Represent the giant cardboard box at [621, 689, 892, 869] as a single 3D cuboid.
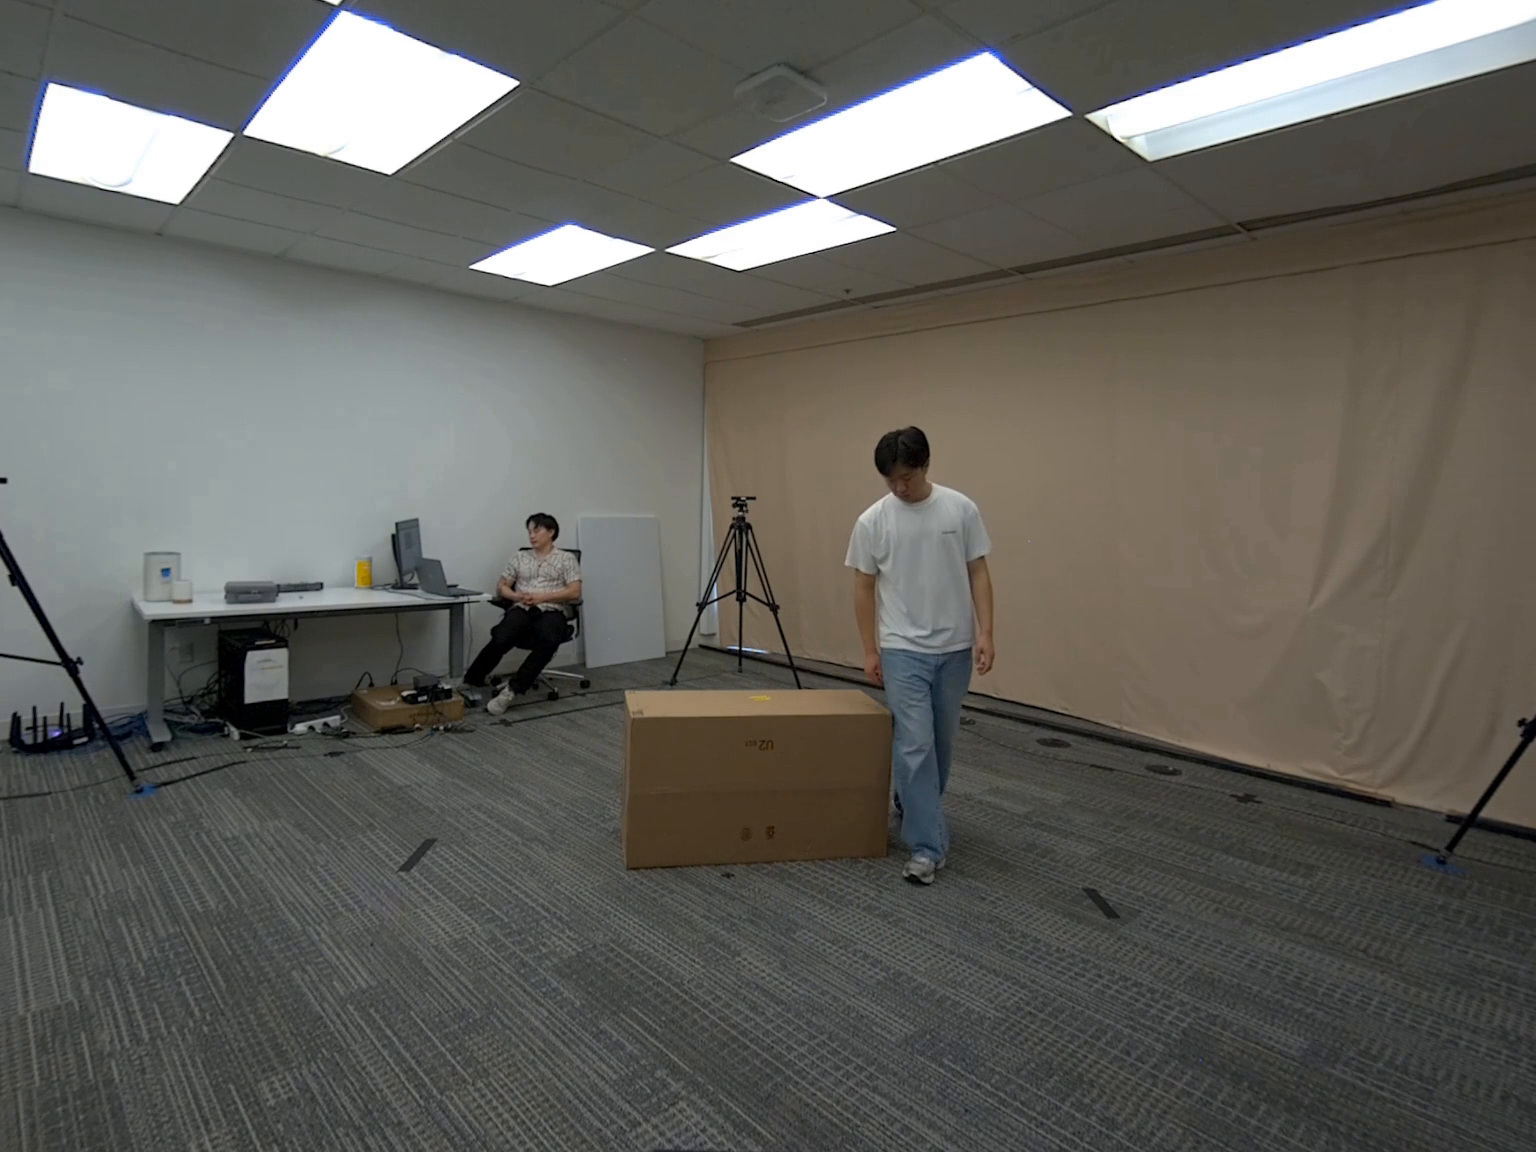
[{"bbox_3d":[-0.073,0.793,3.409,1.017,0.576,0.431,1,4,-11],"label":"giant cardboard box"}]
